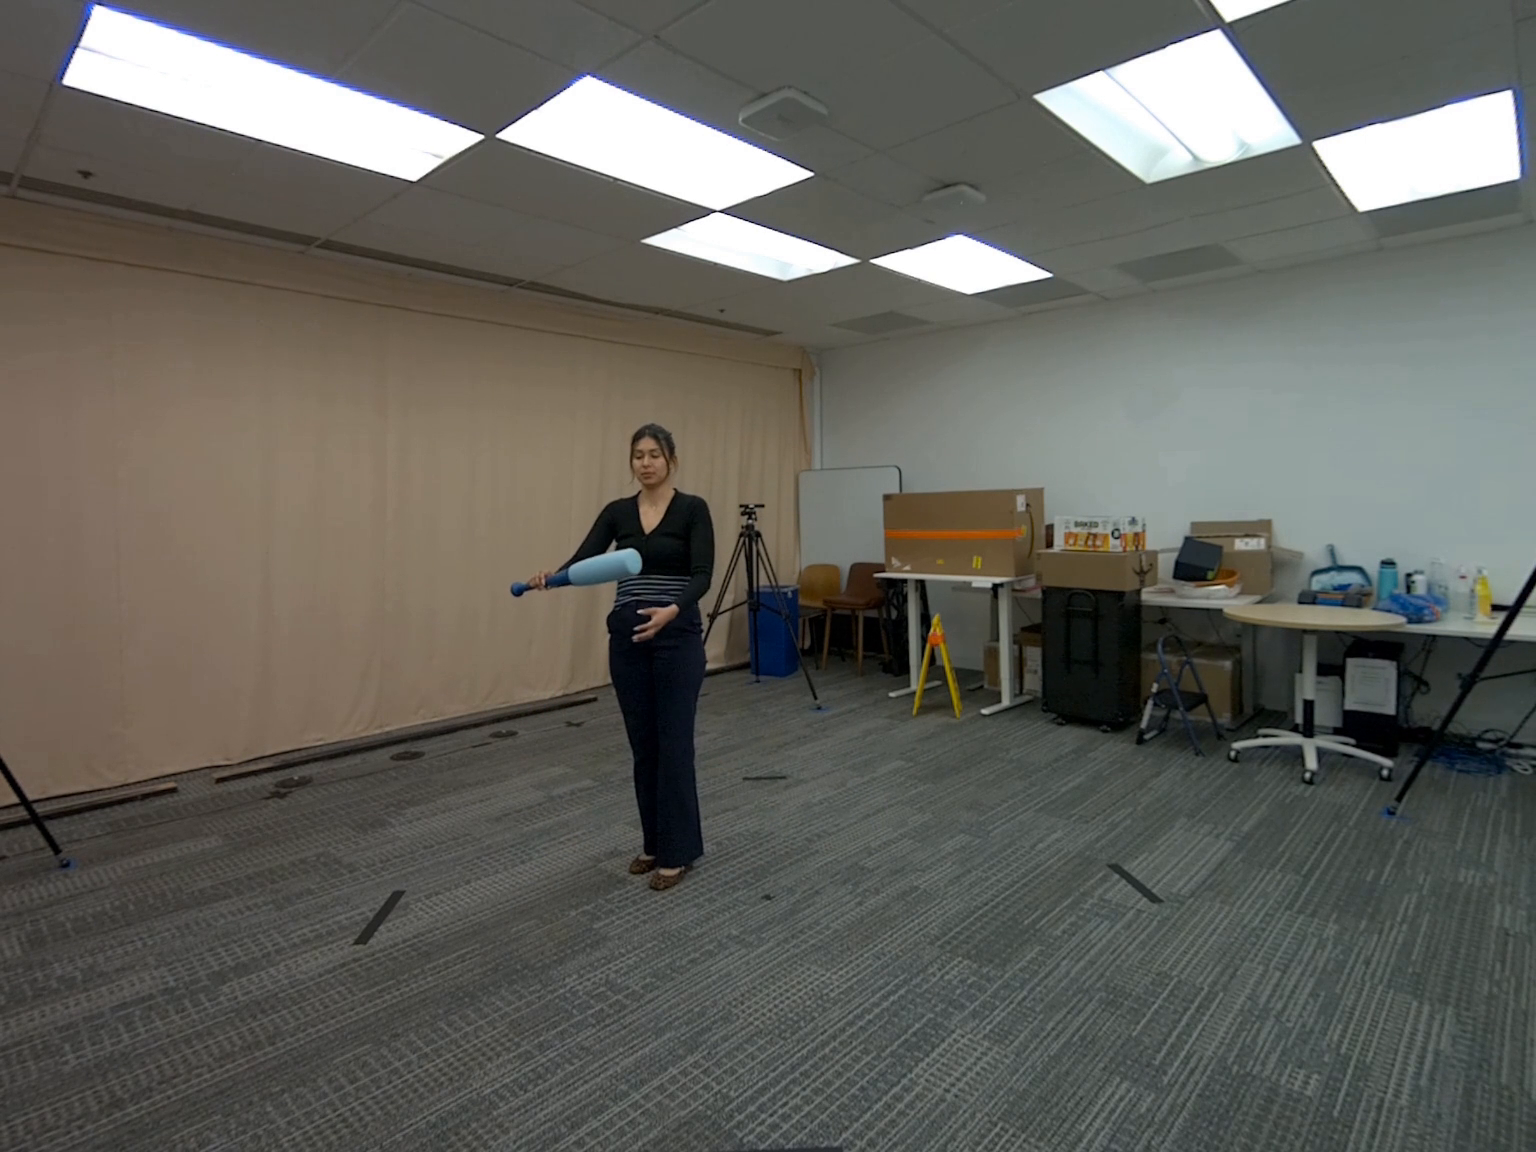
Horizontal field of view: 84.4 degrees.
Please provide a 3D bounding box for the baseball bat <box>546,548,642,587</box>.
[{"bbox_3d":[-0.629,0.008,2.700,0.557,0.089,0.086,-12,-3,34],"label":"baseball bat"}]
